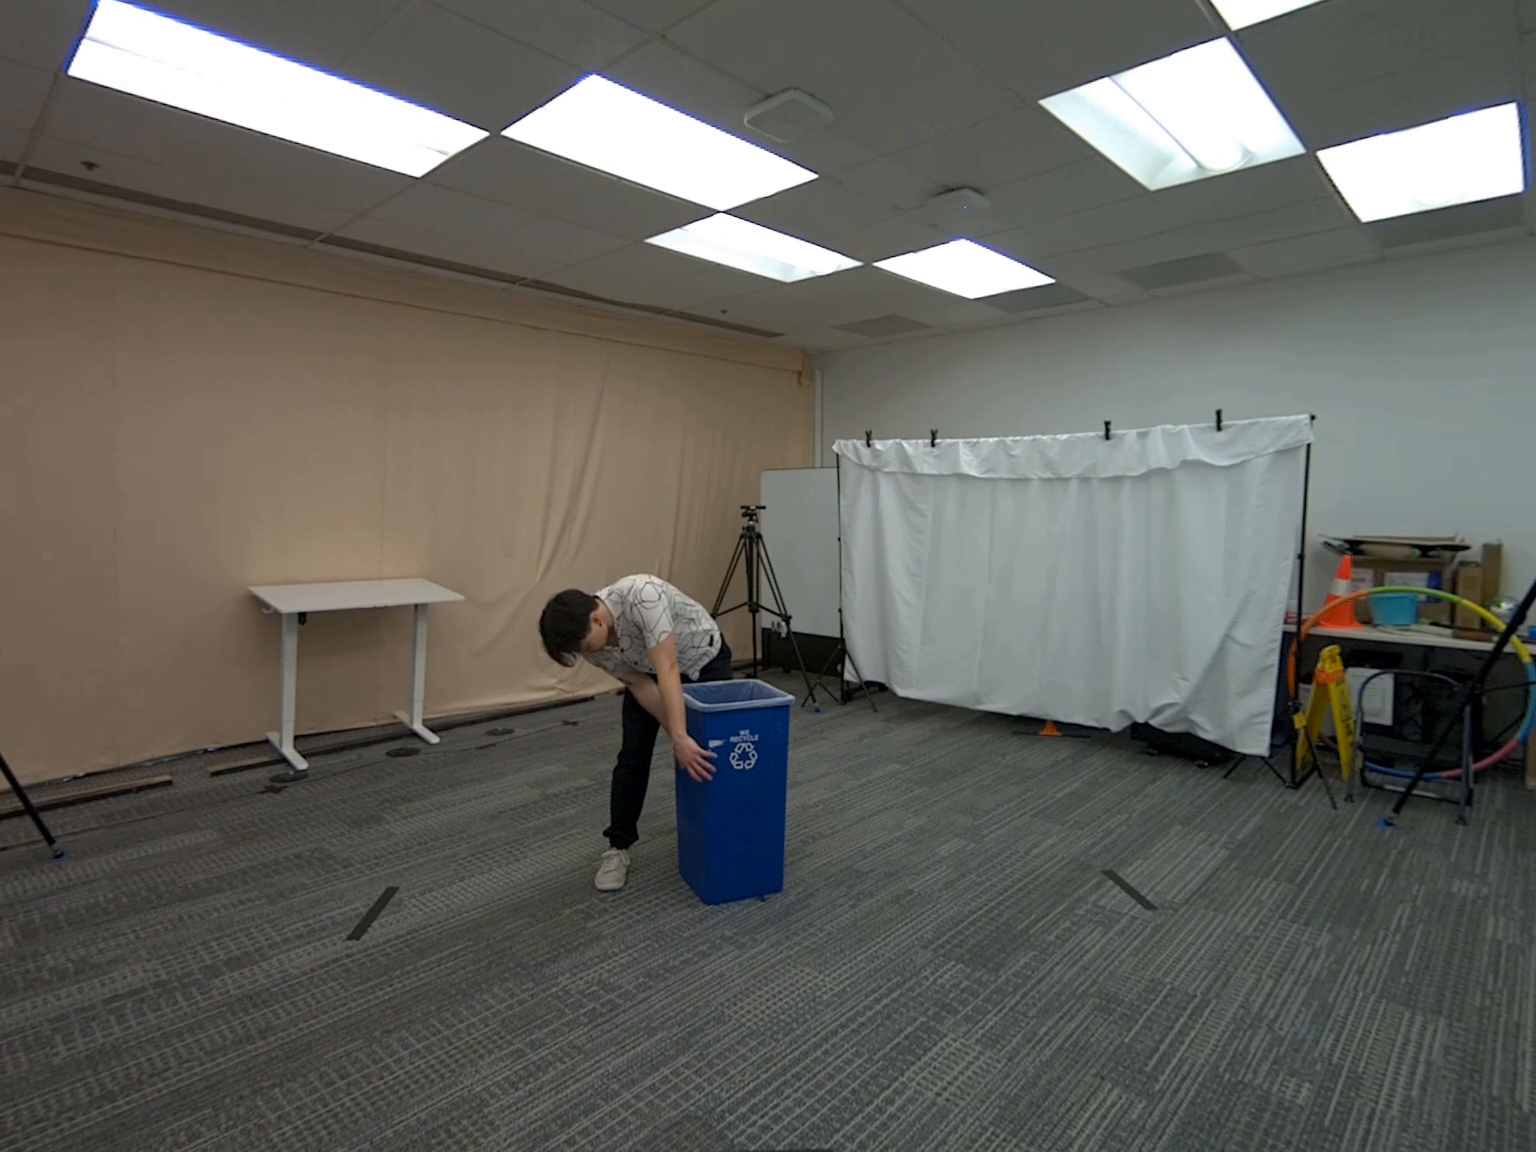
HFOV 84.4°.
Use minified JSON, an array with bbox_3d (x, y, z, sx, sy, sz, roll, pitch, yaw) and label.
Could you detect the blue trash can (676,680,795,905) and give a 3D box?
[{"bbox_3d":[-0.128,0.777,3.097,0.369,0.712,0.384,-1,3,-26],"label":"blue trash can"}]
